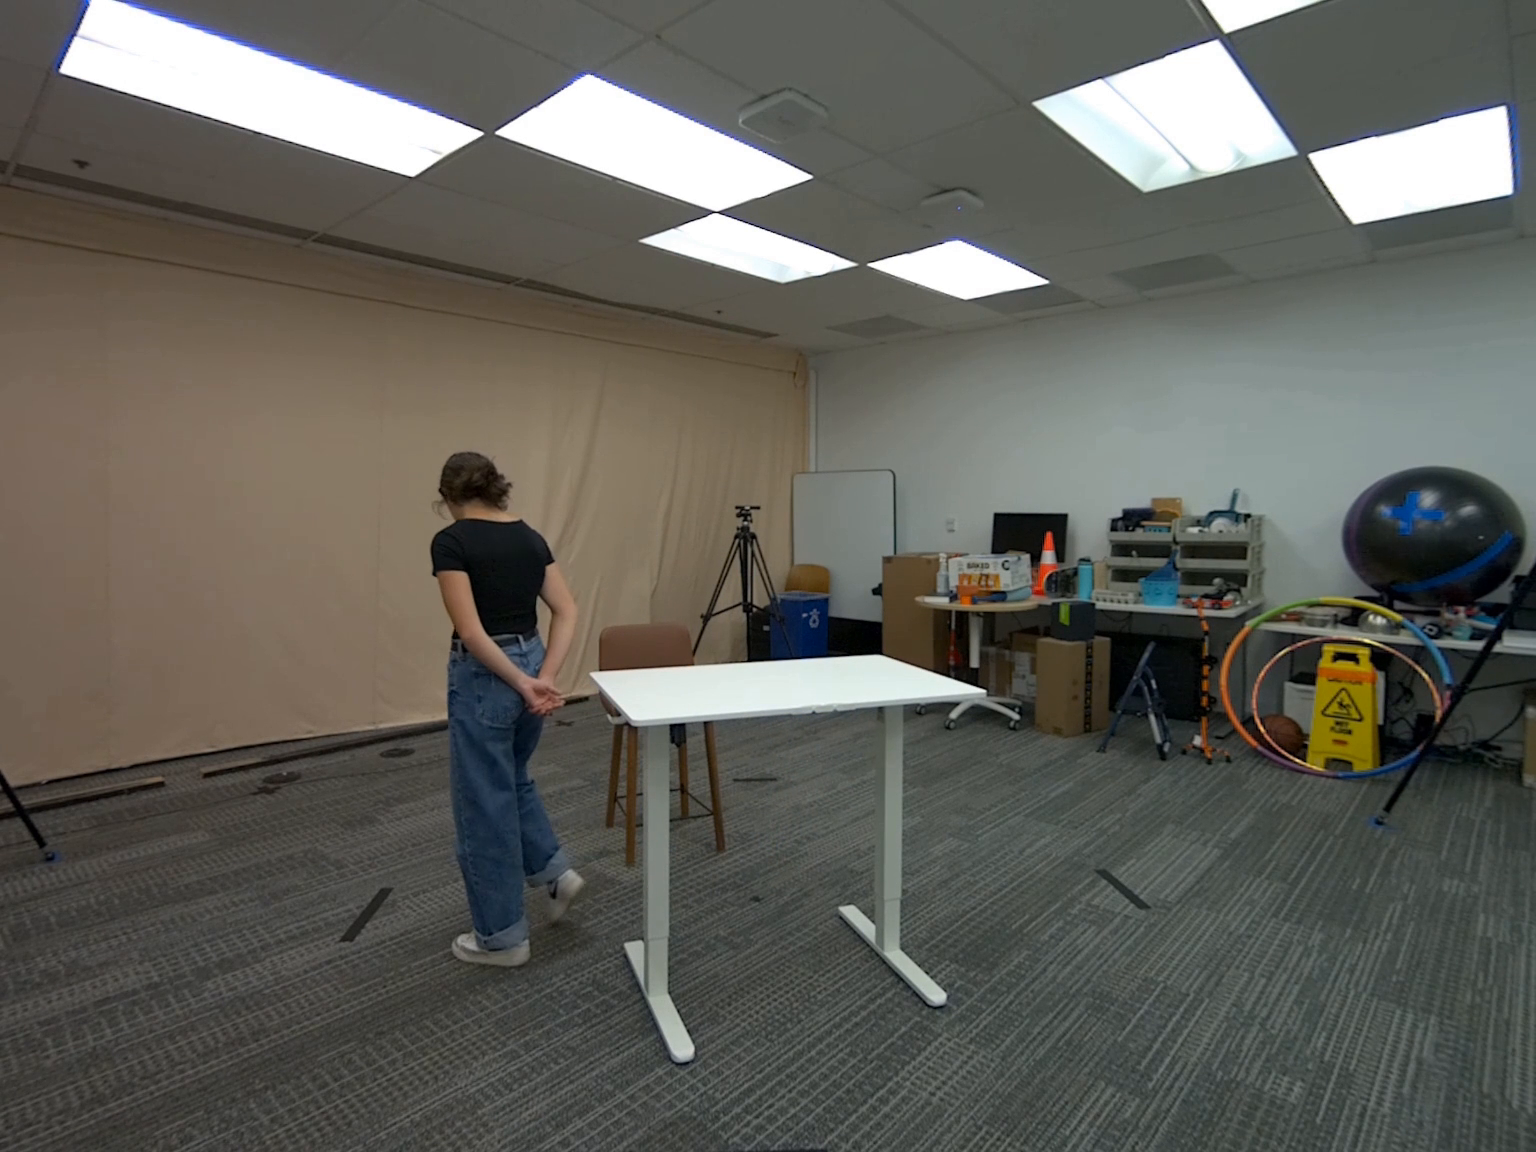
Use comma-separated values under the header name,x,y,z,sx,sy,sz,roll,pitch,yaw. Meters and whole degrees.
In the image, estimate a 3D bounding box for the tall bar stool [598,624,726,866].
name,x,y,z,sx,sy,sz,roll,pitch,yaw
tall bar stool,-0.454,0.669,3.516,0.447,0.889,0.478,-2,2,-22
